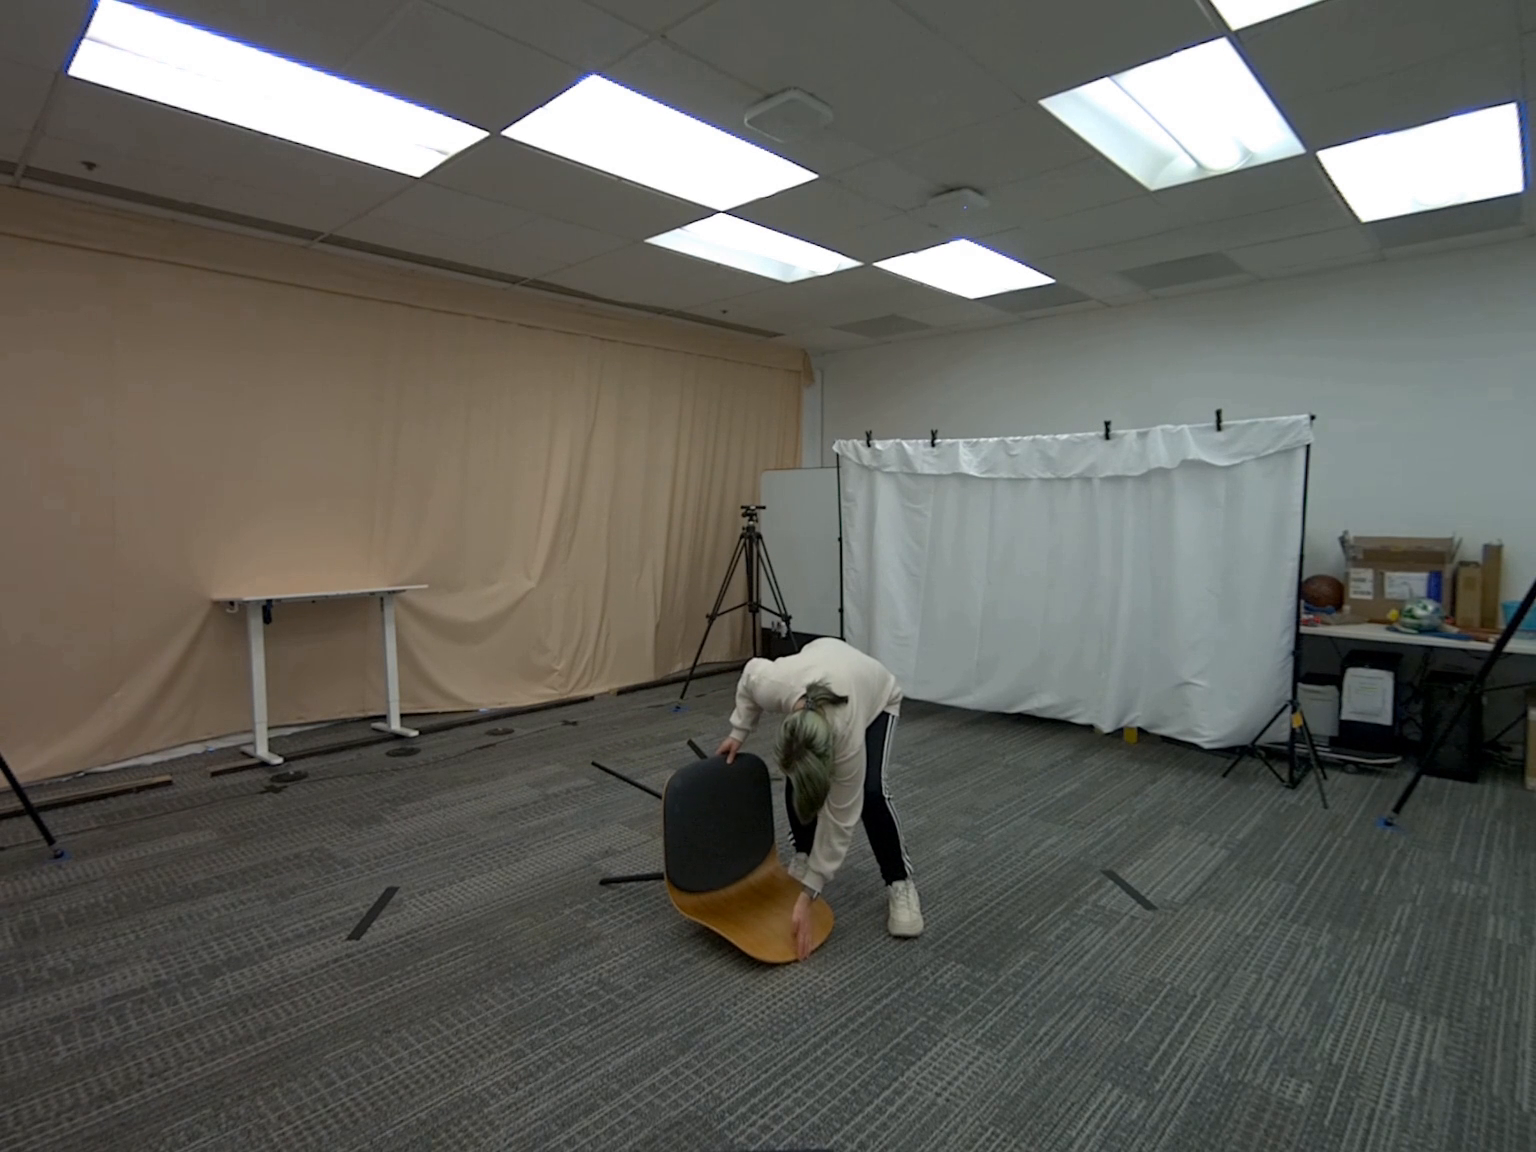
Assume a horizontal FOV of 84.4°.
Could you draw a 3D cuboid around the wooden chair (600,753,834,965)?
[{"bbox_3d":[-0.188,0.890,2.906,0.464,0.521,0.907,-4,7,-40],"label":"wooden chair"}]
